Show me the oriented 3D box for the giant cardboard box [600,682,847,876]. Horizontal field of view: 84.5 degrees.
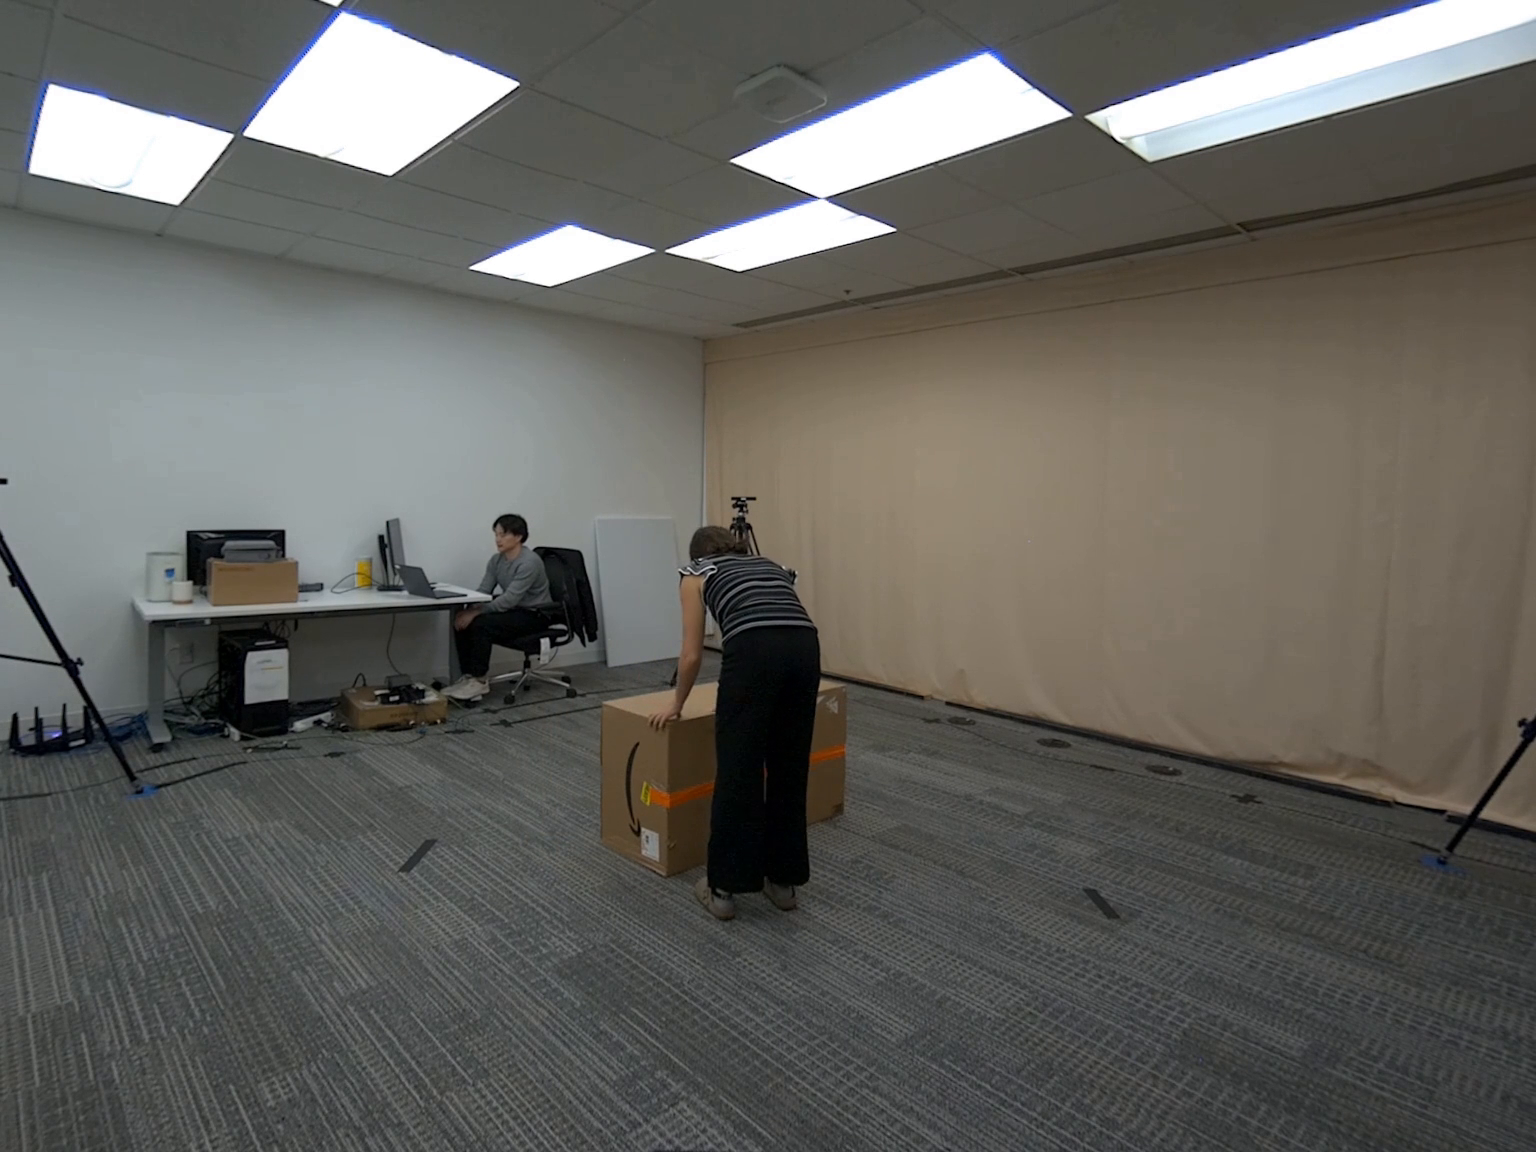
[{"bbox_3d":[-0.165,0.778,3.559,1.002,0.576,0.437,-3,6,-44],"label":"giant cardboard box"}]
